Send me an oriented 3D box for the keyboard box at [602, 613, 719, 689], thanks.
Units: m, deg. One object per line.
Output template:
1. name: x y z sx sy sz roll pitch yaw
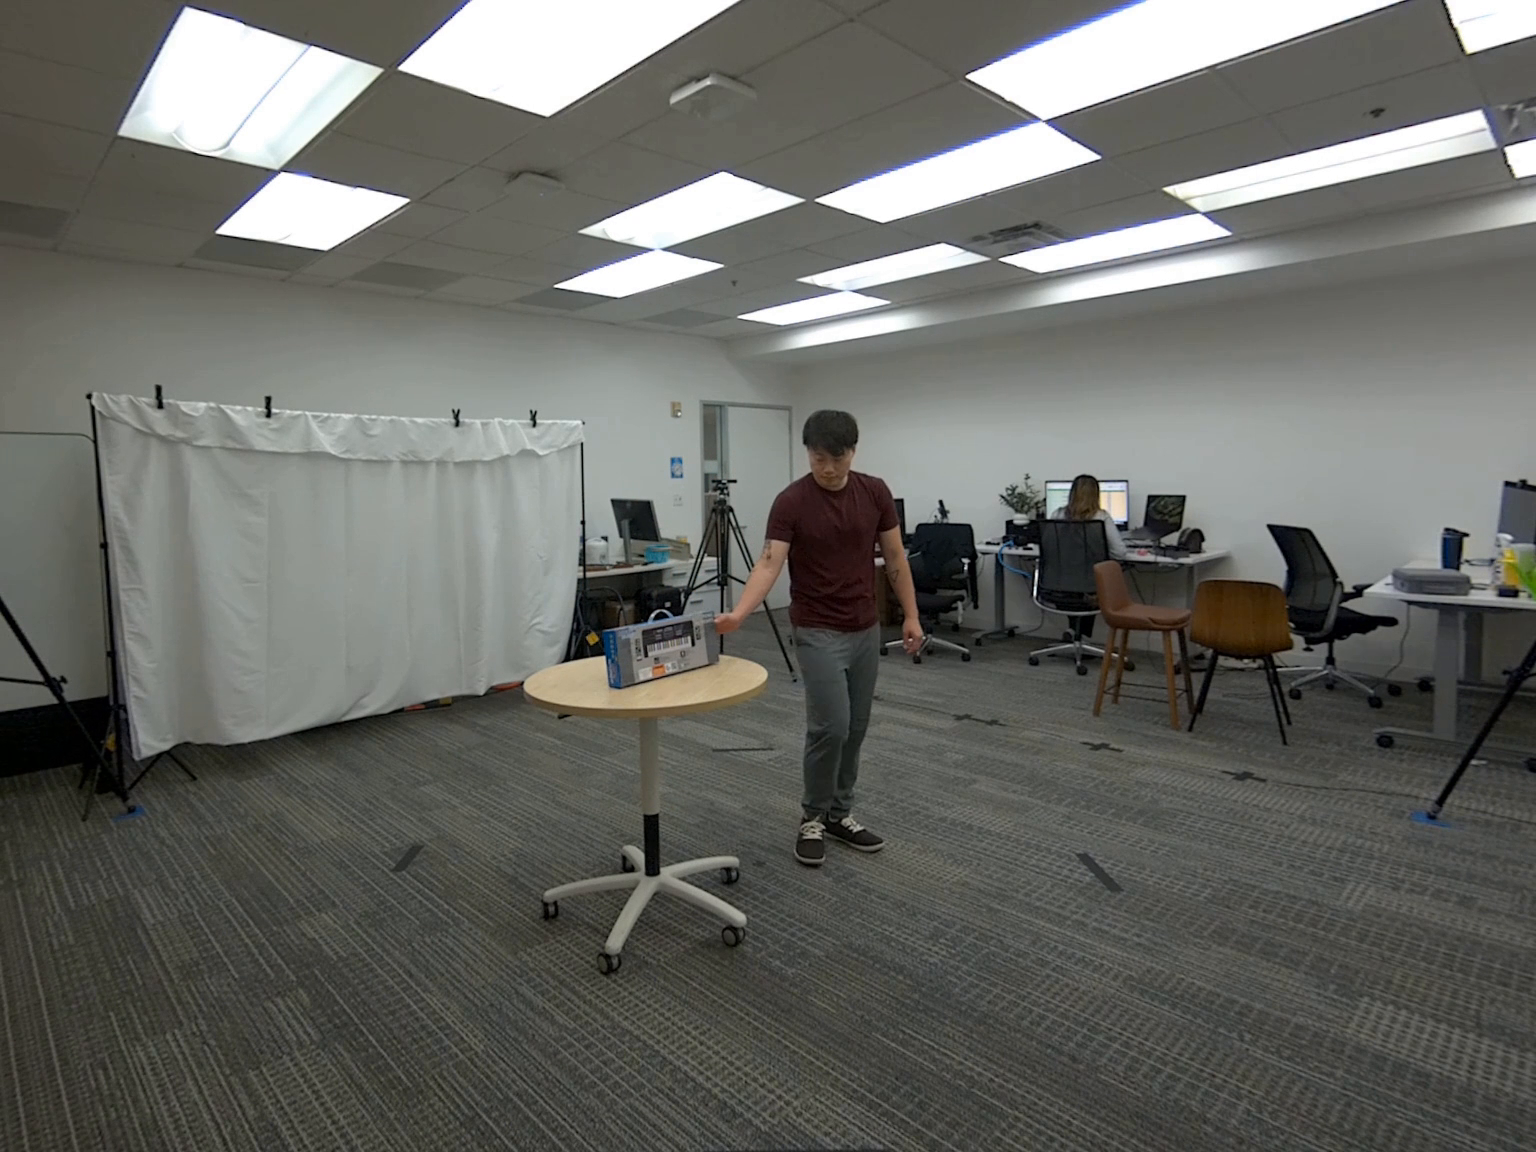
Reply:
1. keyboard box: -0.331 0.229 2.718 0.060 0.176 0.426 -8 1 40
